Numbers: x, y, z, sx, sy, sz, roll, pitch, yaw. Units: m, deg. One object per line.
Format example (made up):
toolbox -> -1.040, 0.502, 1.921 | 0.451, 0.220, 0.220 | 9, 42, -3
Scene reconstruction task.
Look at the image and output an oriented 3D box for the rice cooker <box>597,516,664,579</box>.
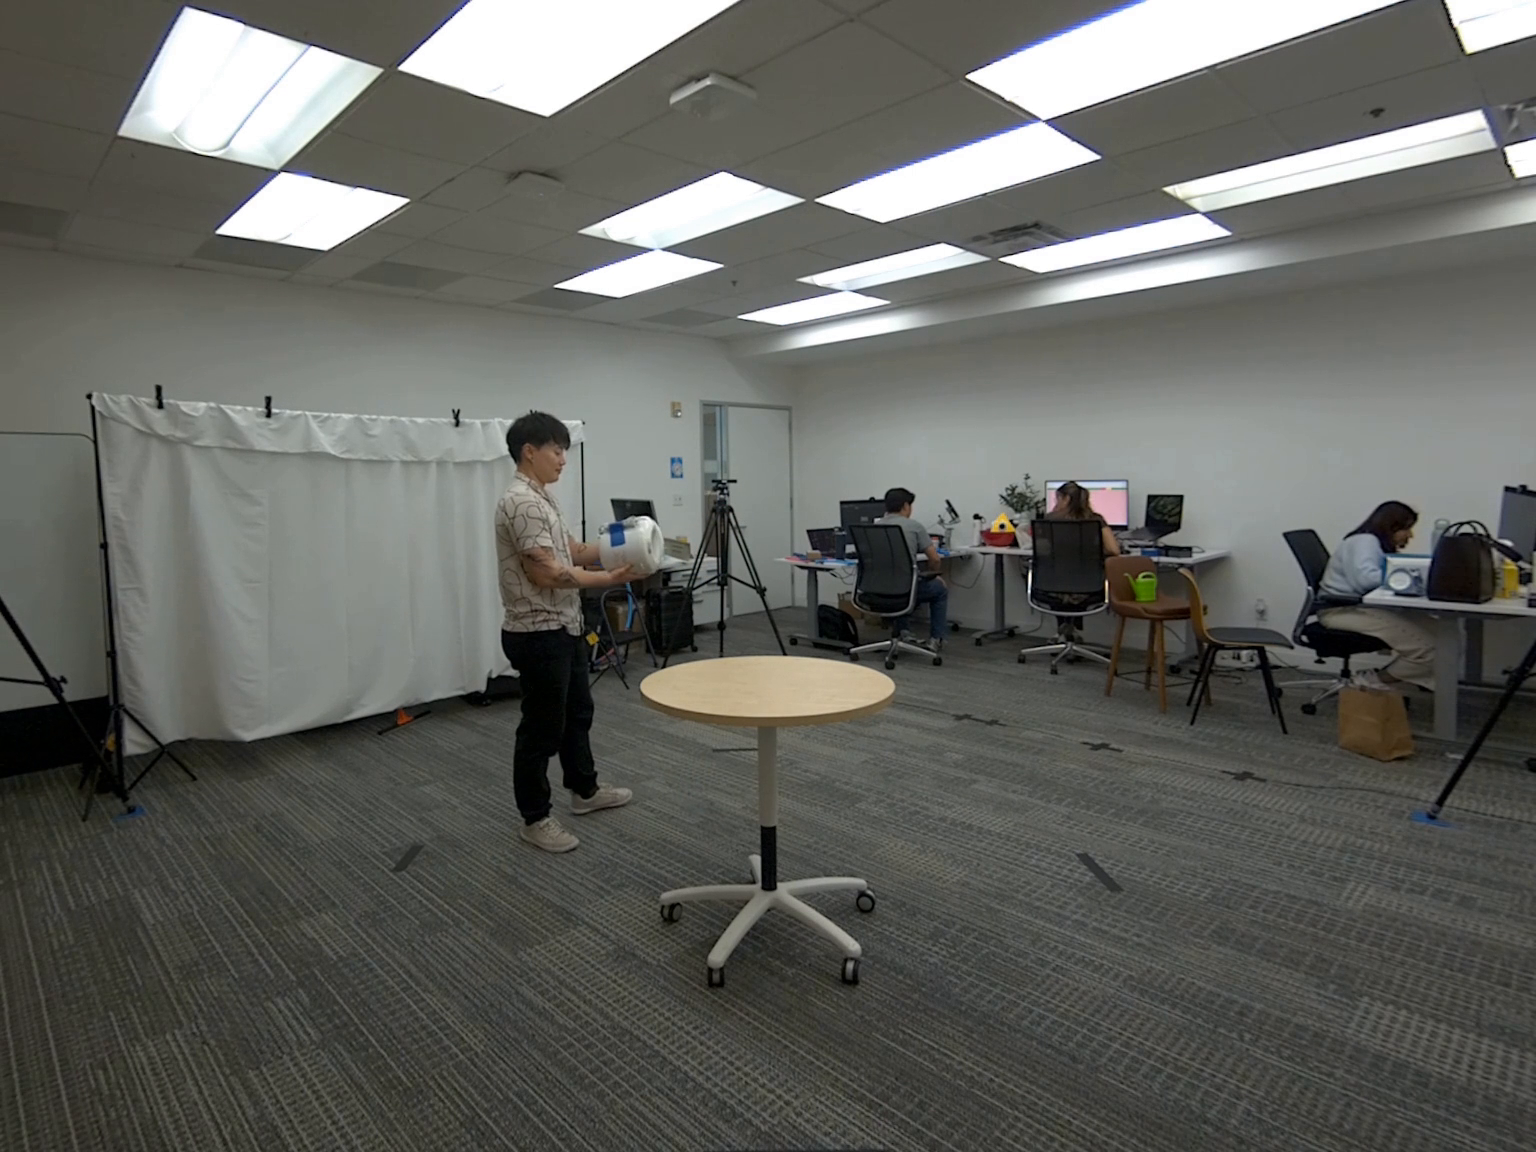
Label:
rice cooker -> -0.504, -0.114, 3.260 | 0.235, 0.222, 0.214 | -6, -5, 11
